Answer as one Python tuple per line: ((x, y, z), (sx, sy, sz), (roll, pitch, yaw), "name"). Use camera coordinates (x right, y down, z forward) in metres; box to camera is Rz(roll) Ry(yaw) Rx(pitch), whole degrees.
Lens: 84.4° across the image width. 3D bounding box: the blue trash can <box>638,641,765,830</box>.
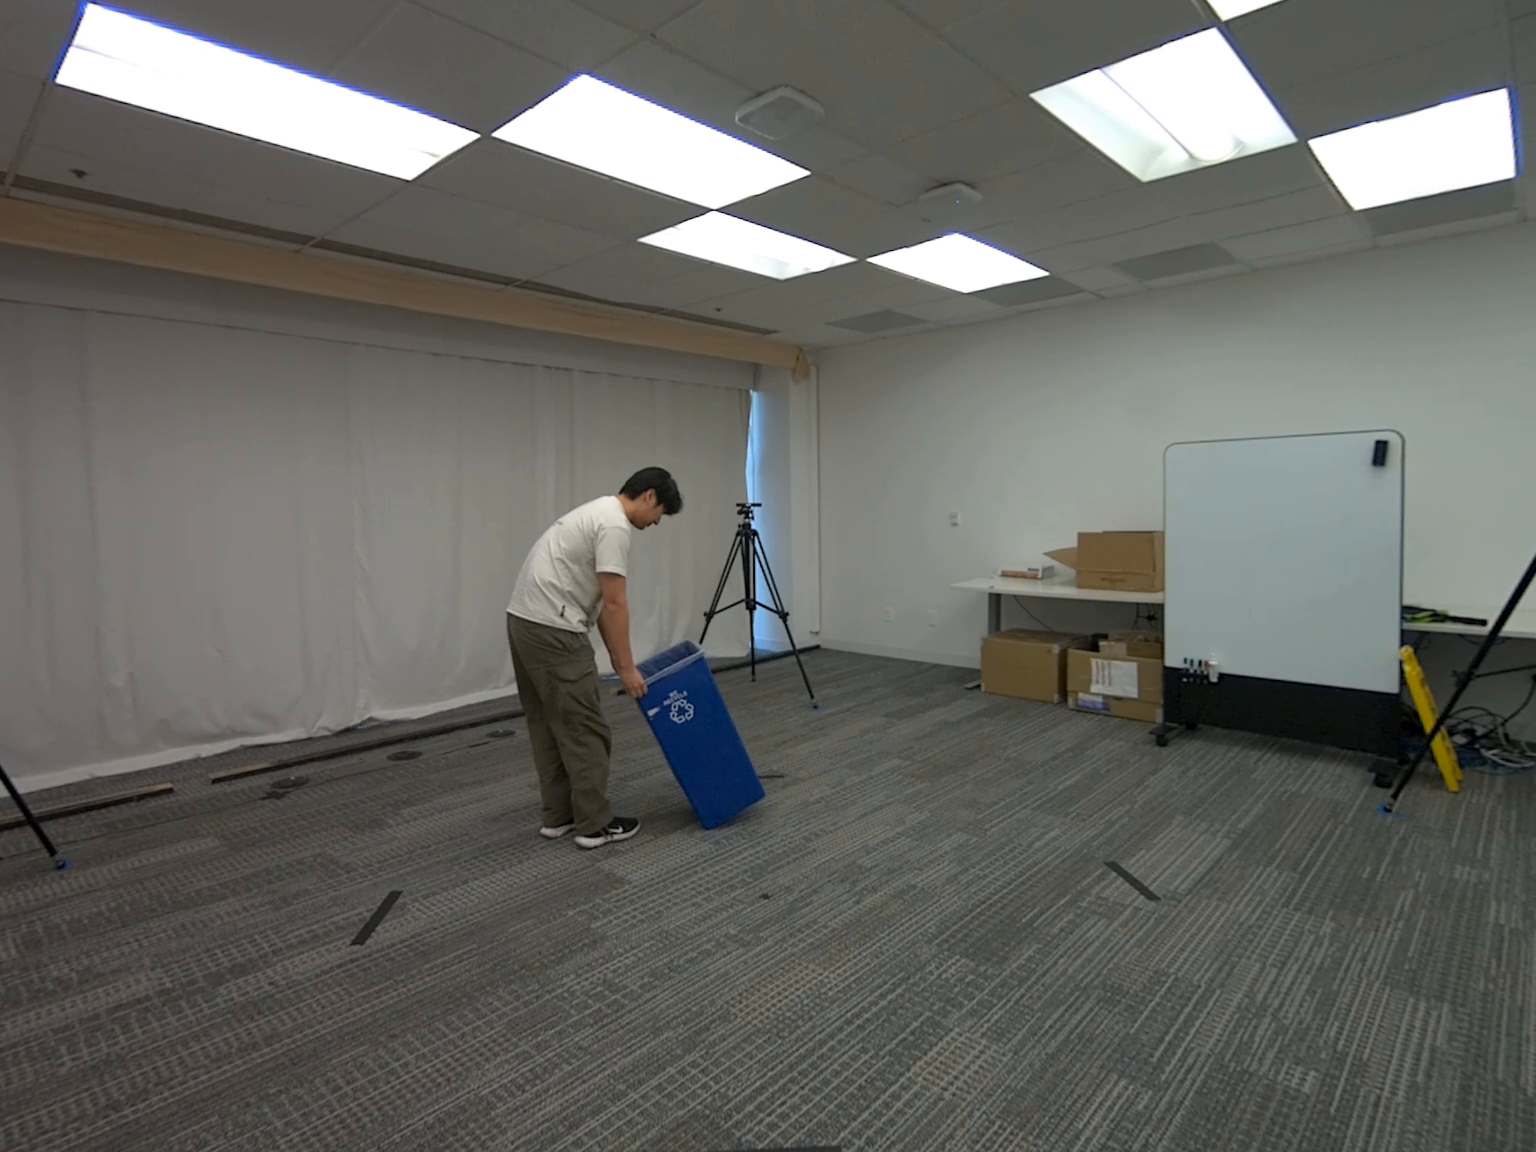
((-0.318, 0.691, 3.722), (0.371, 0.707, 0.385), (-28, 9, -14), "blue trash can")
